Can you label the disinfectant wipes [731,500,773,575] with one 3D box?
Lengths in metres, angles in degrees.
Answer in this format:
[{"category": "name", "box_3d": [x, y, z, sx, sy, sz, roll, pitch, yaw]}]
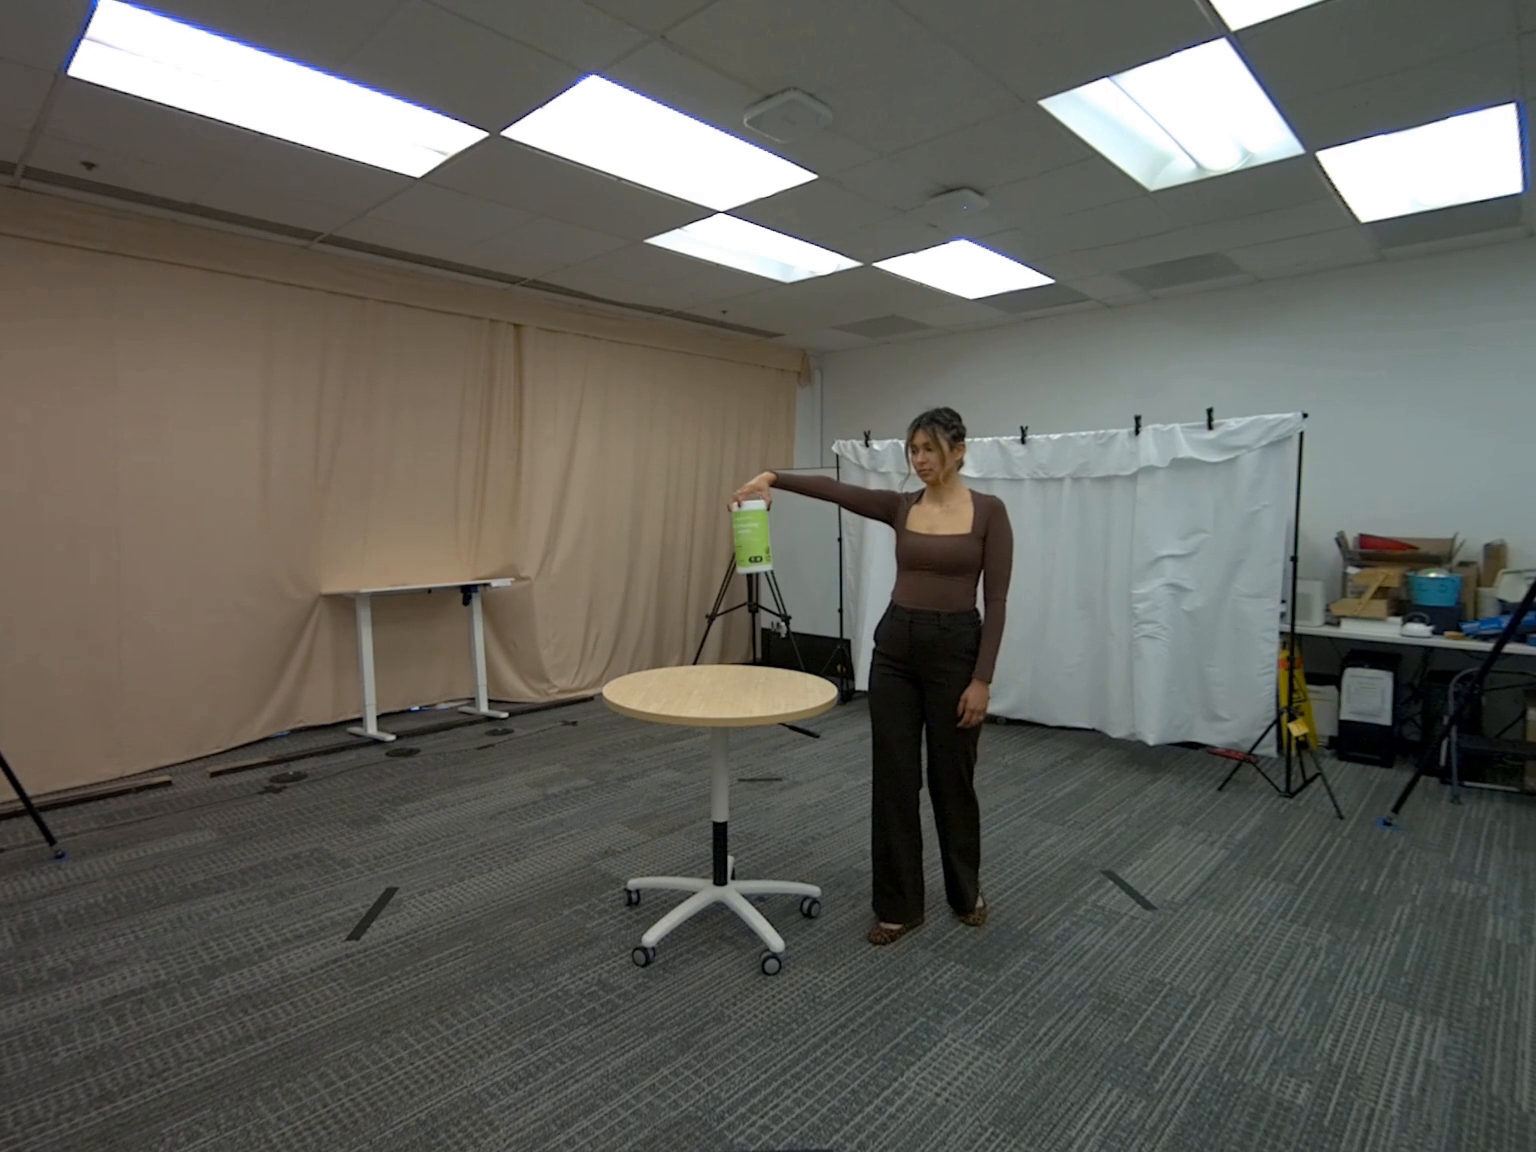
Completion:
[{"category": "disinfectant wipes", "box_3d": [-0.043, -0.115, 2.545, 0.118, 0.217, 0.118, -4, 0, -2]}]
